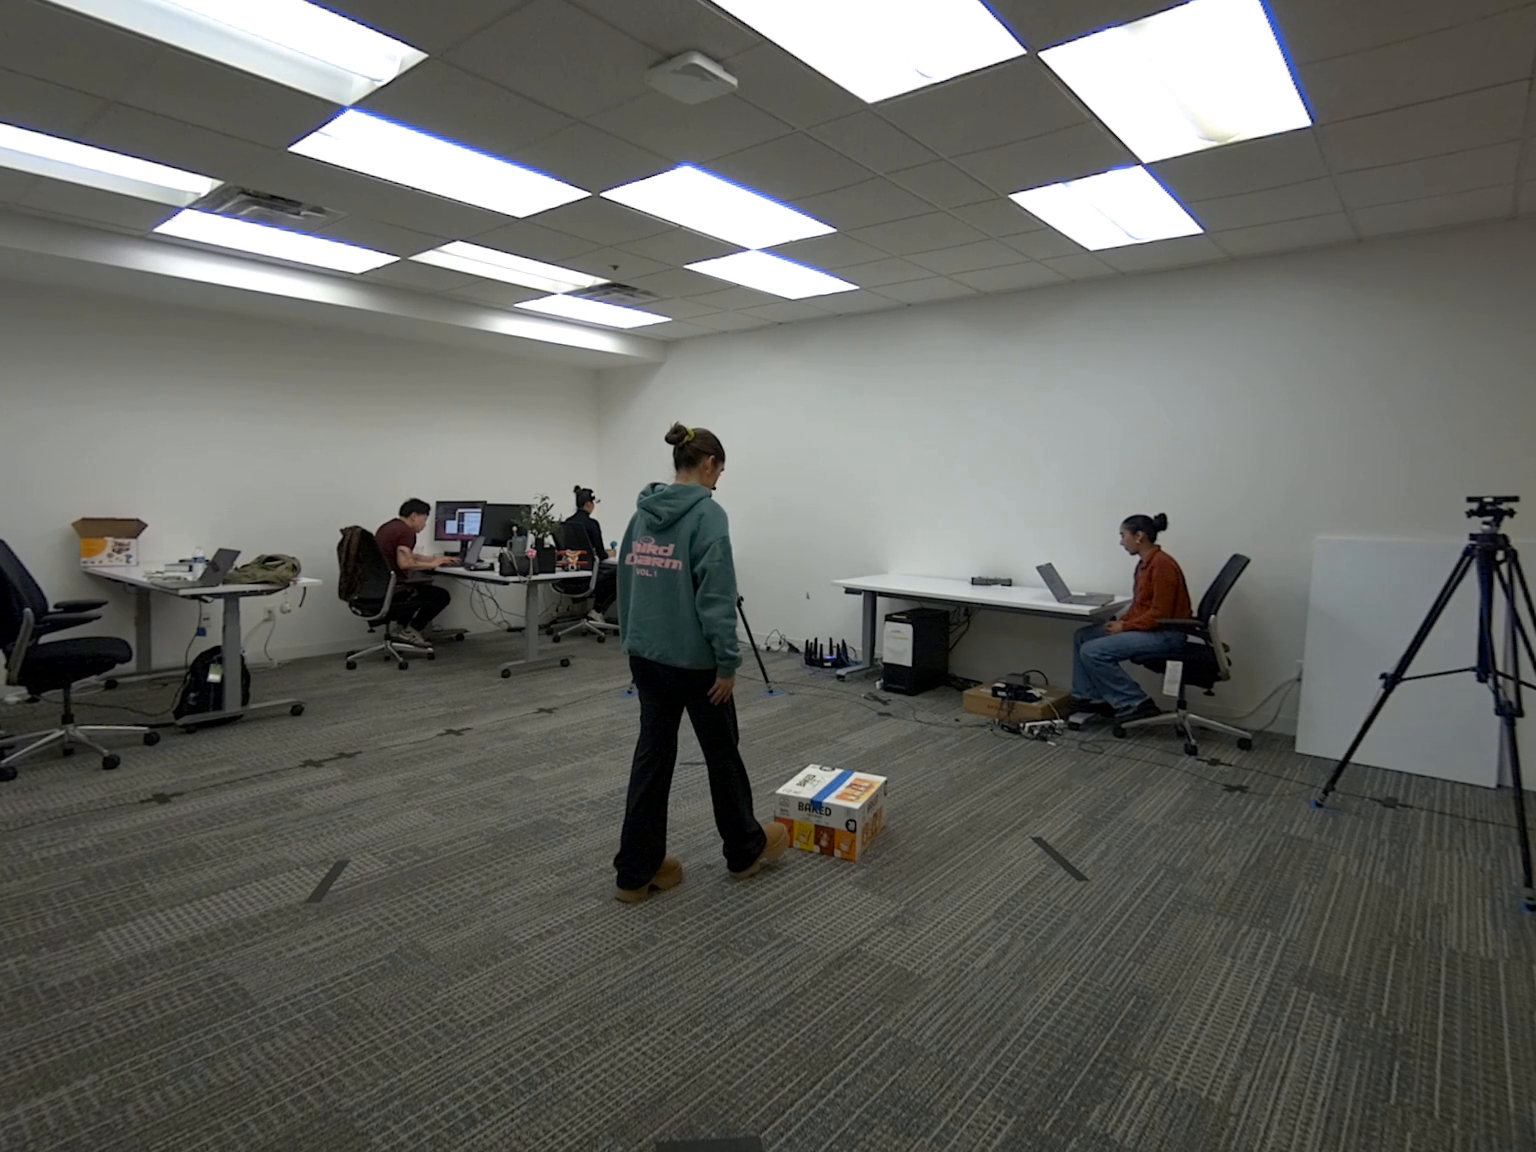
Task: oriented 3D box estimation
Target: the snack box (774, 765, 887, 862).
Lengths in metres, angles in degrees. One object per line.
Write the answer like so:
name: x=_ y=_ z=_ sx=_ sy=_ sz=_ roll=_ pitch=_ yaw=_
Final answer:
snack box: x=0.252 y=0.940 z=3.436 sx=0.349 sy=0.205 sz=0.396 roll=4 pitch=6 yaw=25
